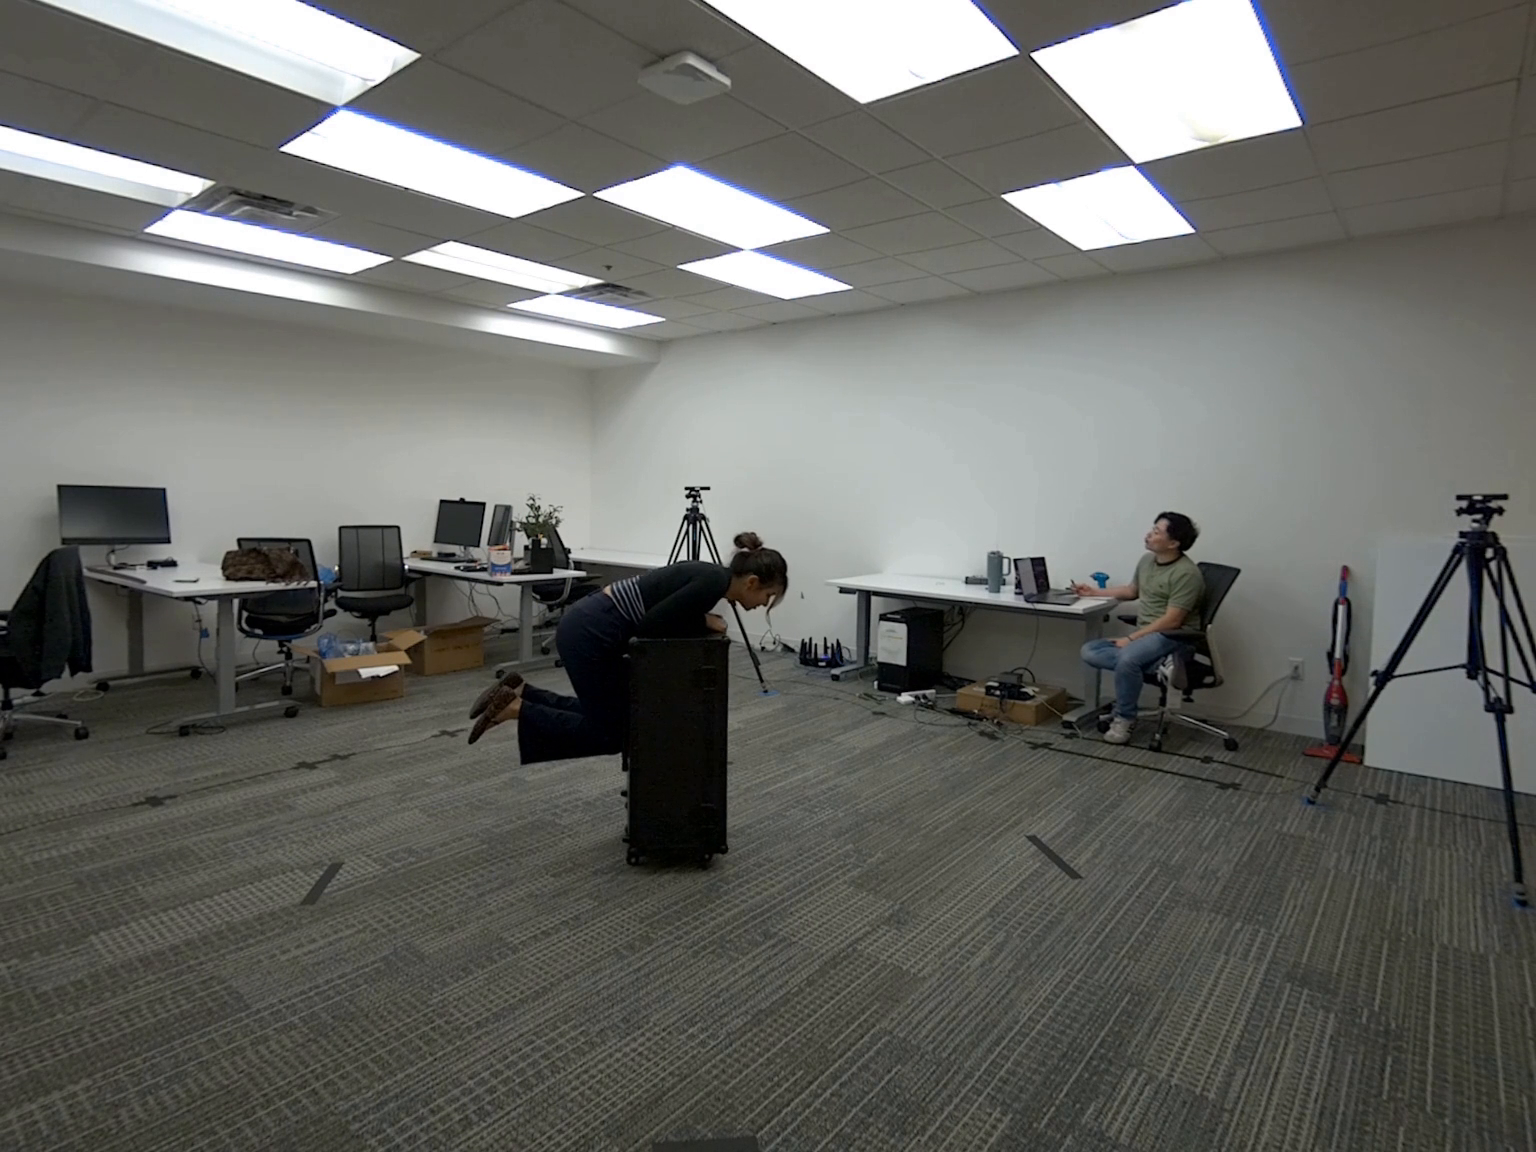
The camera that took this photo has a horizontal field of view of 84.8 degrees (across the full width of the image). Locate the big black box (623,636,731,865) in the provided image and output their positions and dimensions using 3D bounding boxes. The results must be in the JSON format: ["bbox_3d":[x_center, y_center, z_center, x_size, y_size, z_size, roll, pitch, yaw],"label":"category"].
[{"bbox_3d":[-0.387,0.630,3.263,0.394,0.859,0.526,-1,4,-7],"label":"big black box"}]
